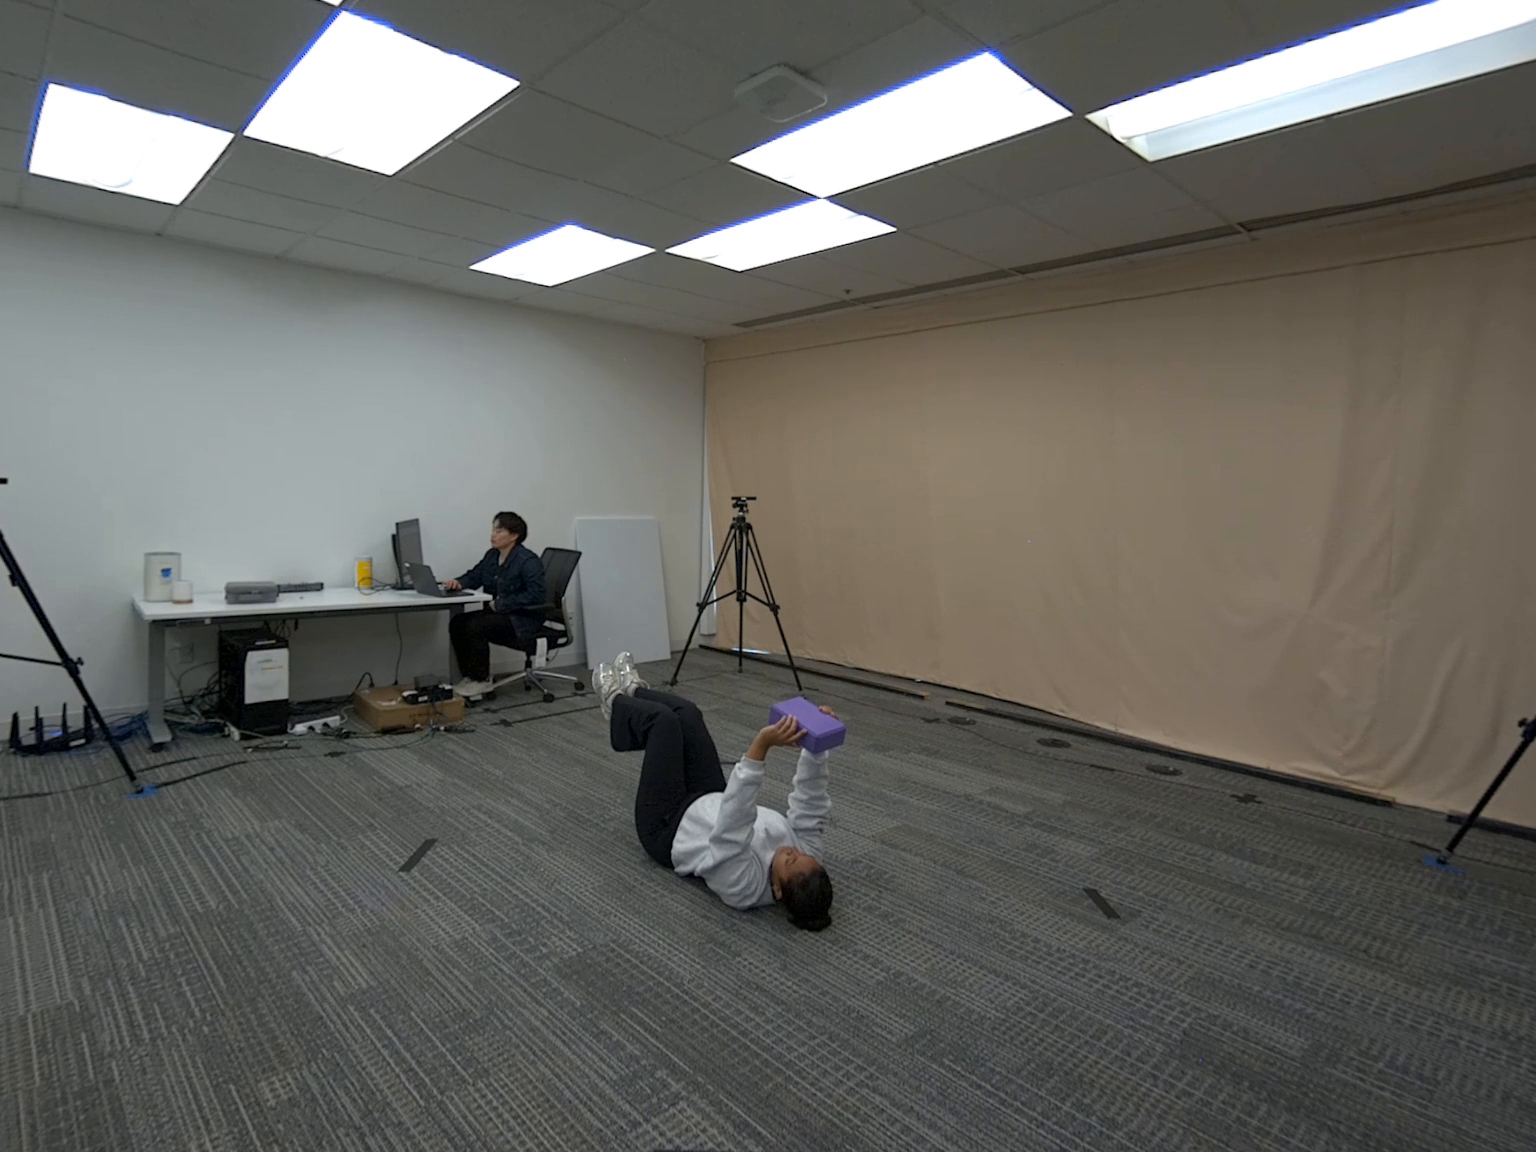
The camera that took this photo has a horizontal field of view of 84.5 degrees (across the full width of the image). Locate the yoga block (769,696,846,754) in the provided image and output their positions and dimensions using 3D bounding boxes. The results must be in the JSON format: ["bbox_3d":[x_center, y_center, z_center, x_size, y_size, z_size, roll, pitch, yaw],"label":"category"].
[{"bbox_3d":[0.131,0.501,2.818,0.146,0.075,0.236,-10,26,-42],"label":"yoga block"}]
